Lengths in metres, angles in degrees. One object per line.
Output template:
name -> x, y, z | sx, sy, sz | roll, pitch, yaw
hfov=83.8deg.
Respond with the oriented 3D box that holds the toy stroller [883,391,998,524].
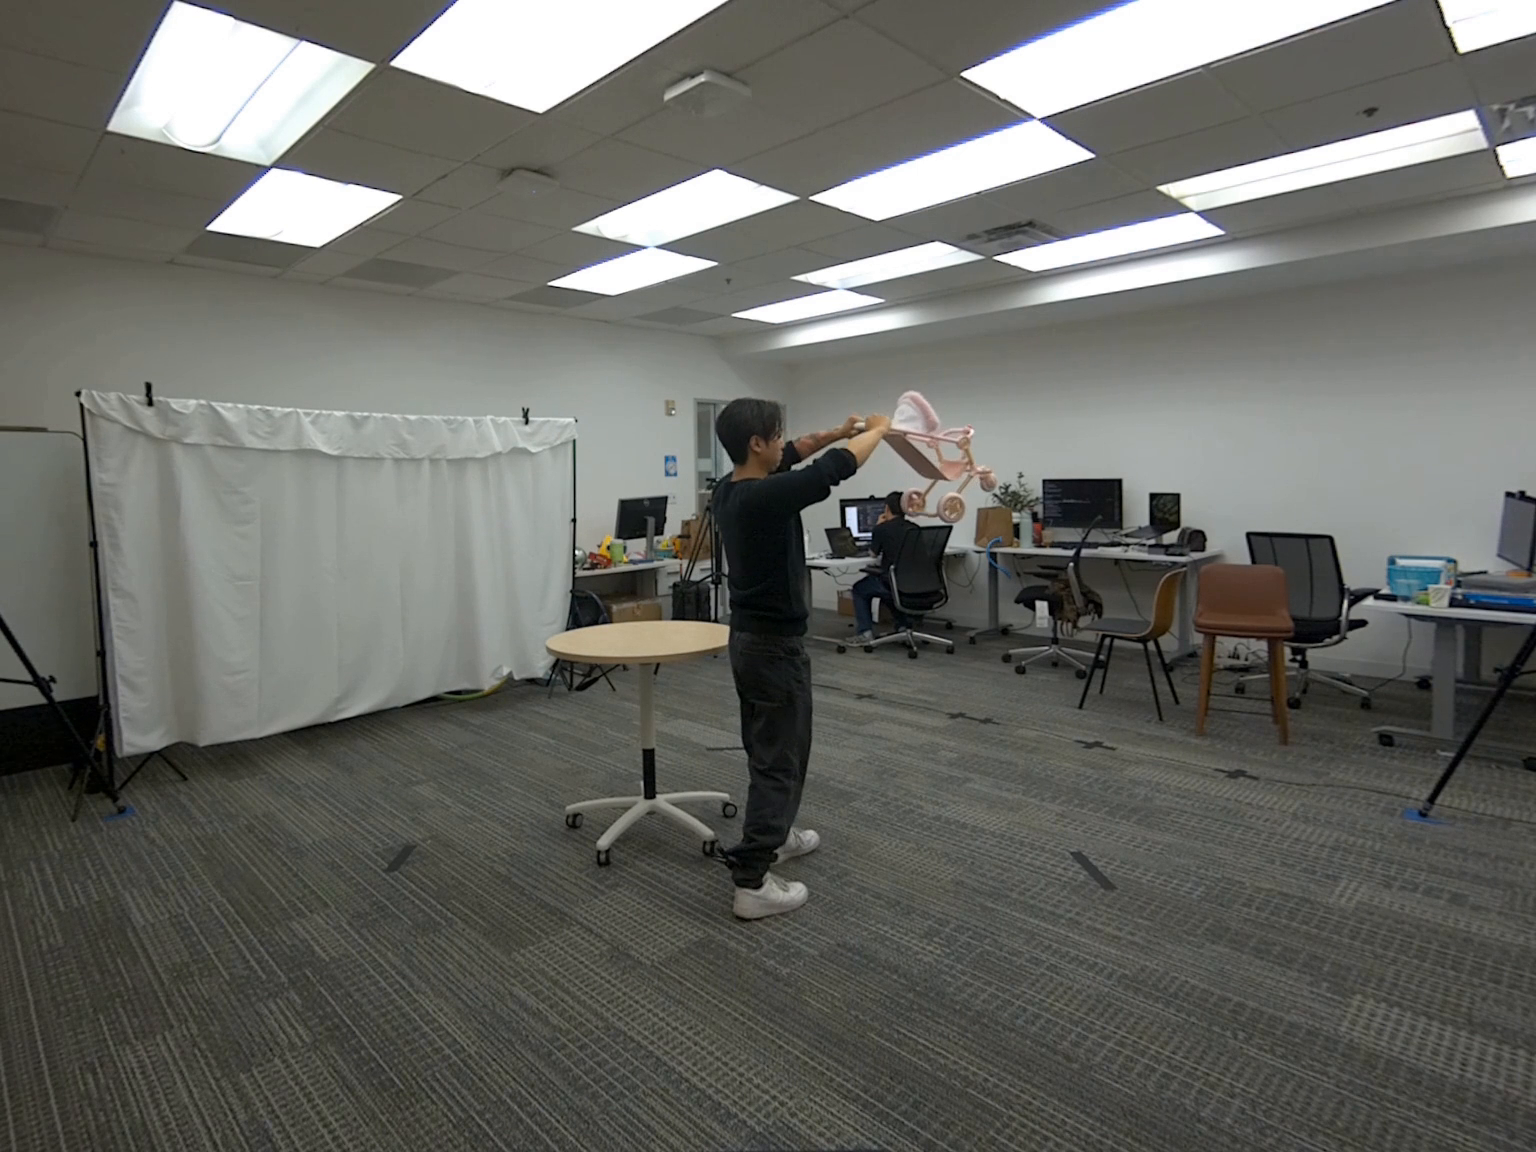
toy stroller -> 0.596, -0.439, 3.084 | 0.341, 0.524, 0.288 | -39, 16, -7
